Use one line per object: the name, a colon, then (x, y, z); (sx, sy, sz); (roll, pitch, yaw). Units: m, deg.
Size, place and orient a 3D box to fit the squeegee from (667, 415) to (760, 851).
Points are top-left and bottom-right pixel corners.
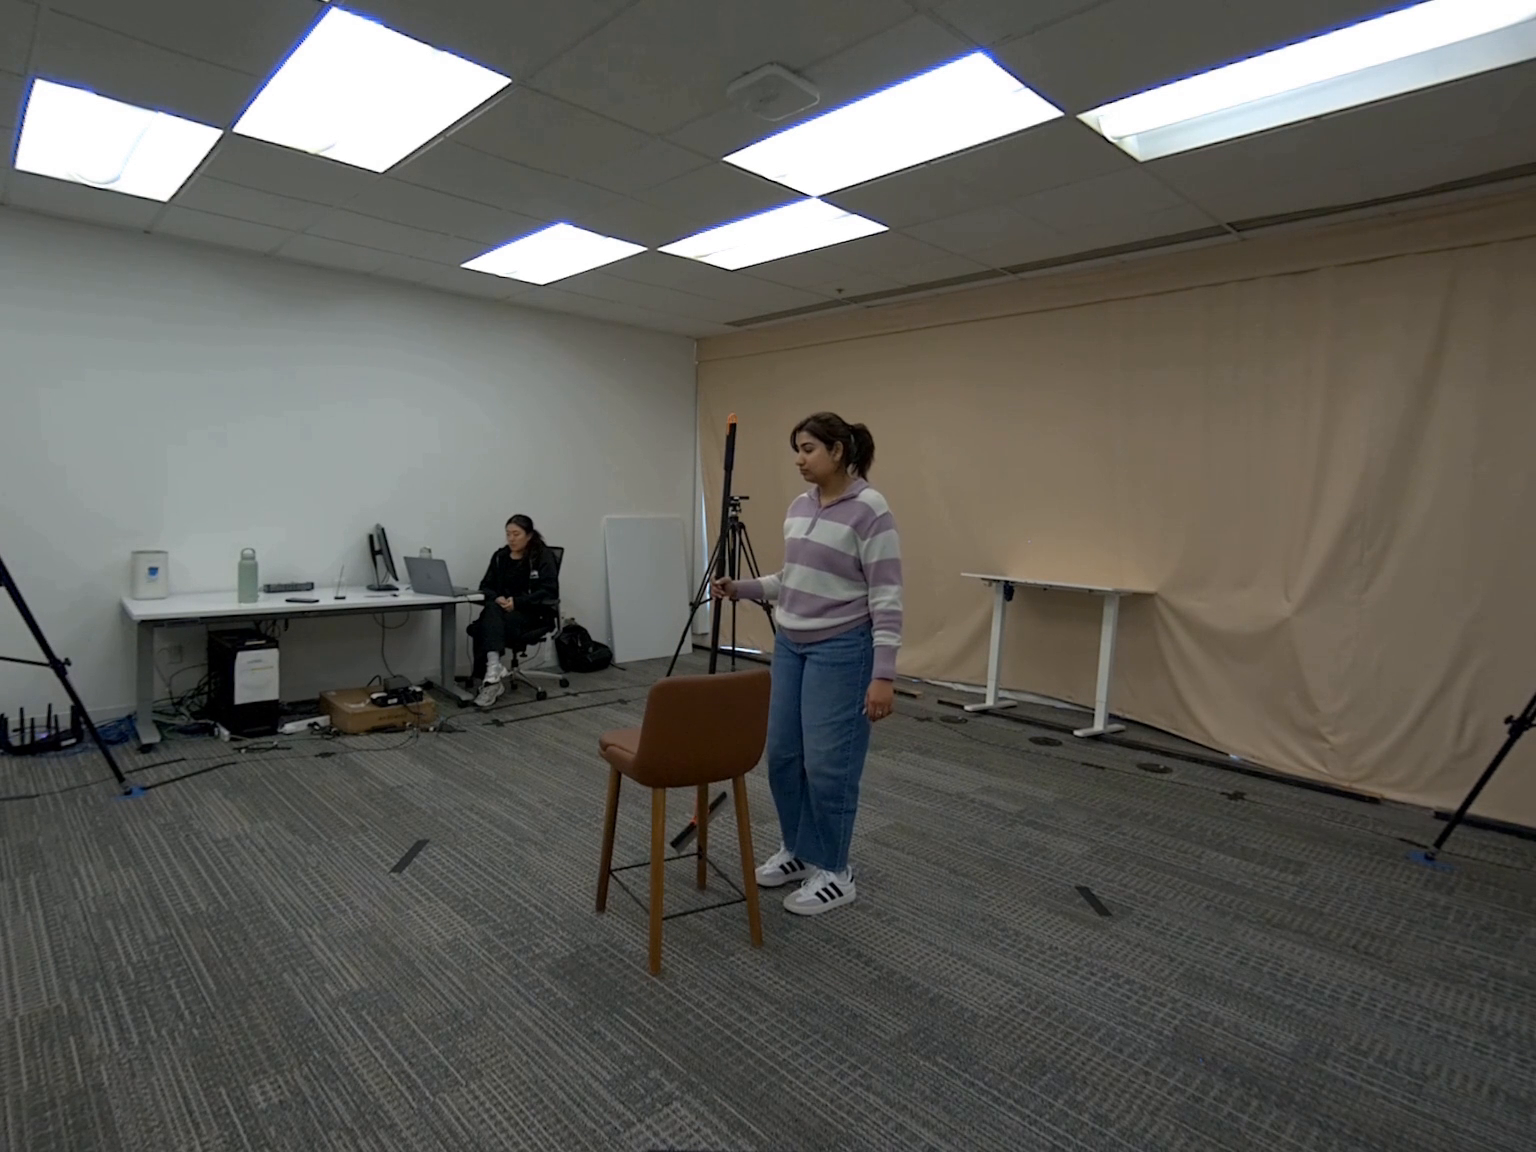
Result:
squeegee: (-0.200, 0.206, 3.024); (0.054, 1.528, 0.433); (7, 10, 18)
